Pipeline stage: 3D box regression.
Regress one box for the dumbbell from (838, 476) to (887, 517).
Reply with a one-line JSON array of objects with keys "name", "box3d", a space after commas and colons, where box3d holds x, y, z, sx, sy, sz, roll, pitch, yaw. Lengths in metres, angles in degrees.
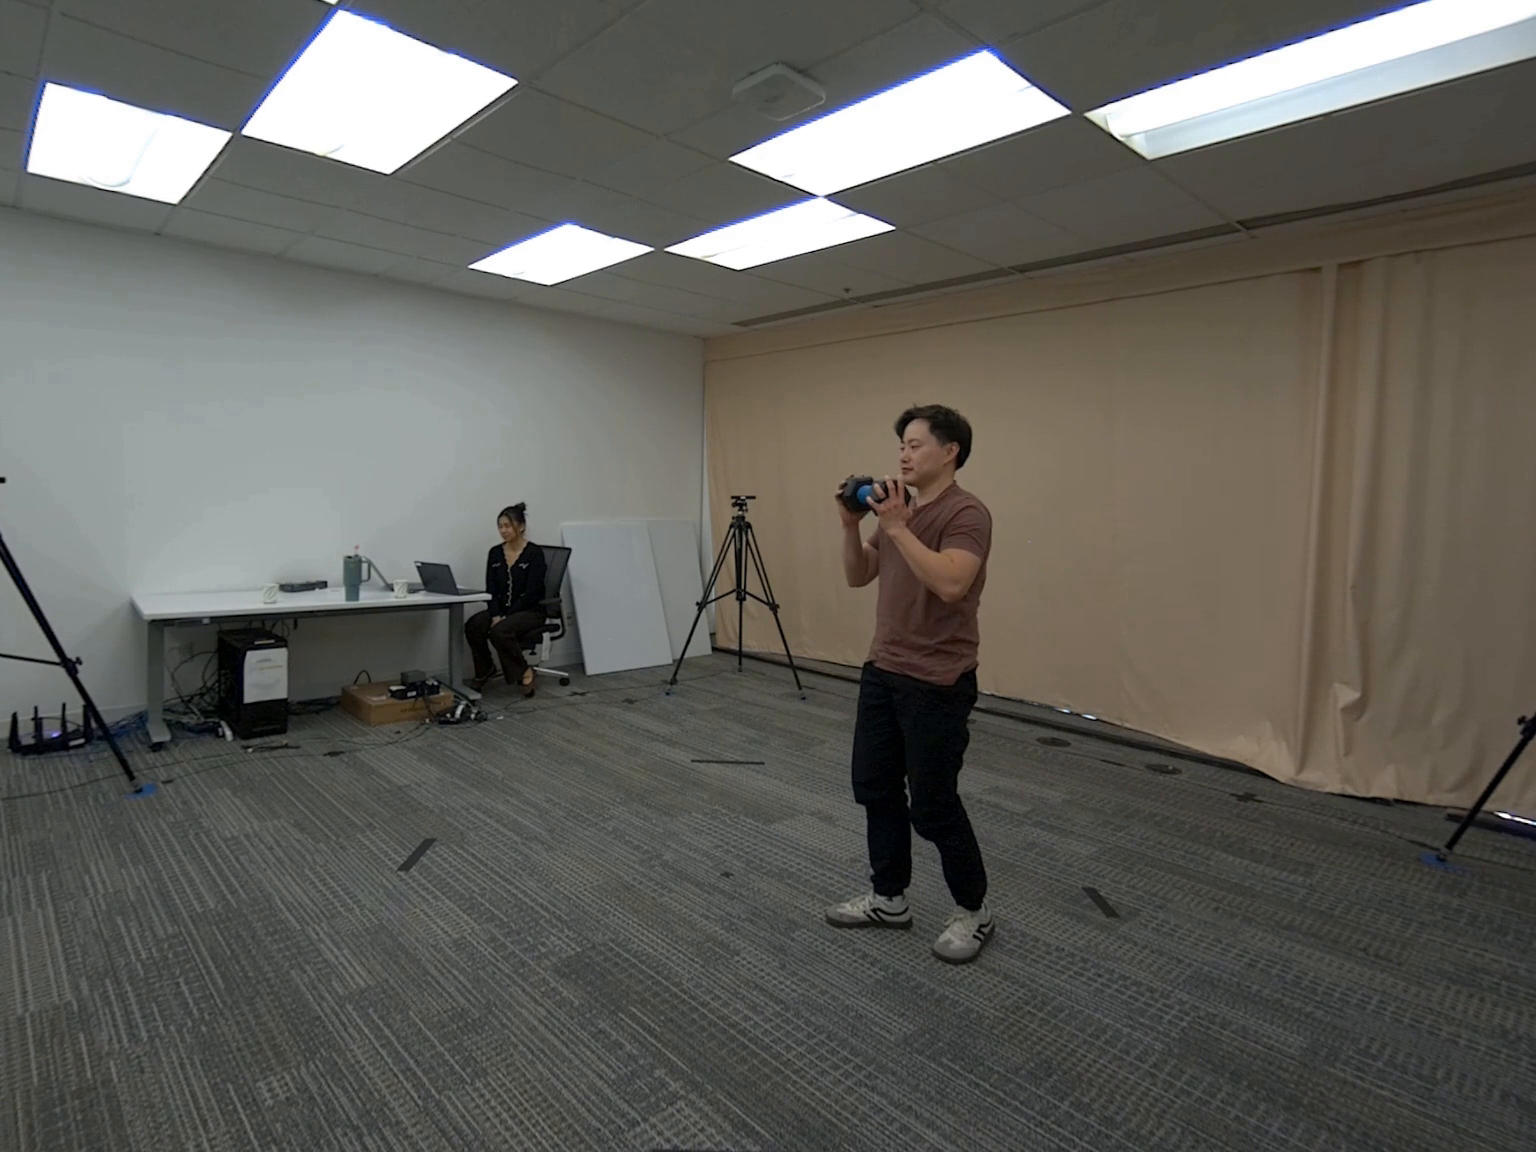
[{"name": "dumbbell", "box3d": [0.332, -0.236, 2.580, 0.122, 0.108, 0.298, -3, 9, -12]}]
